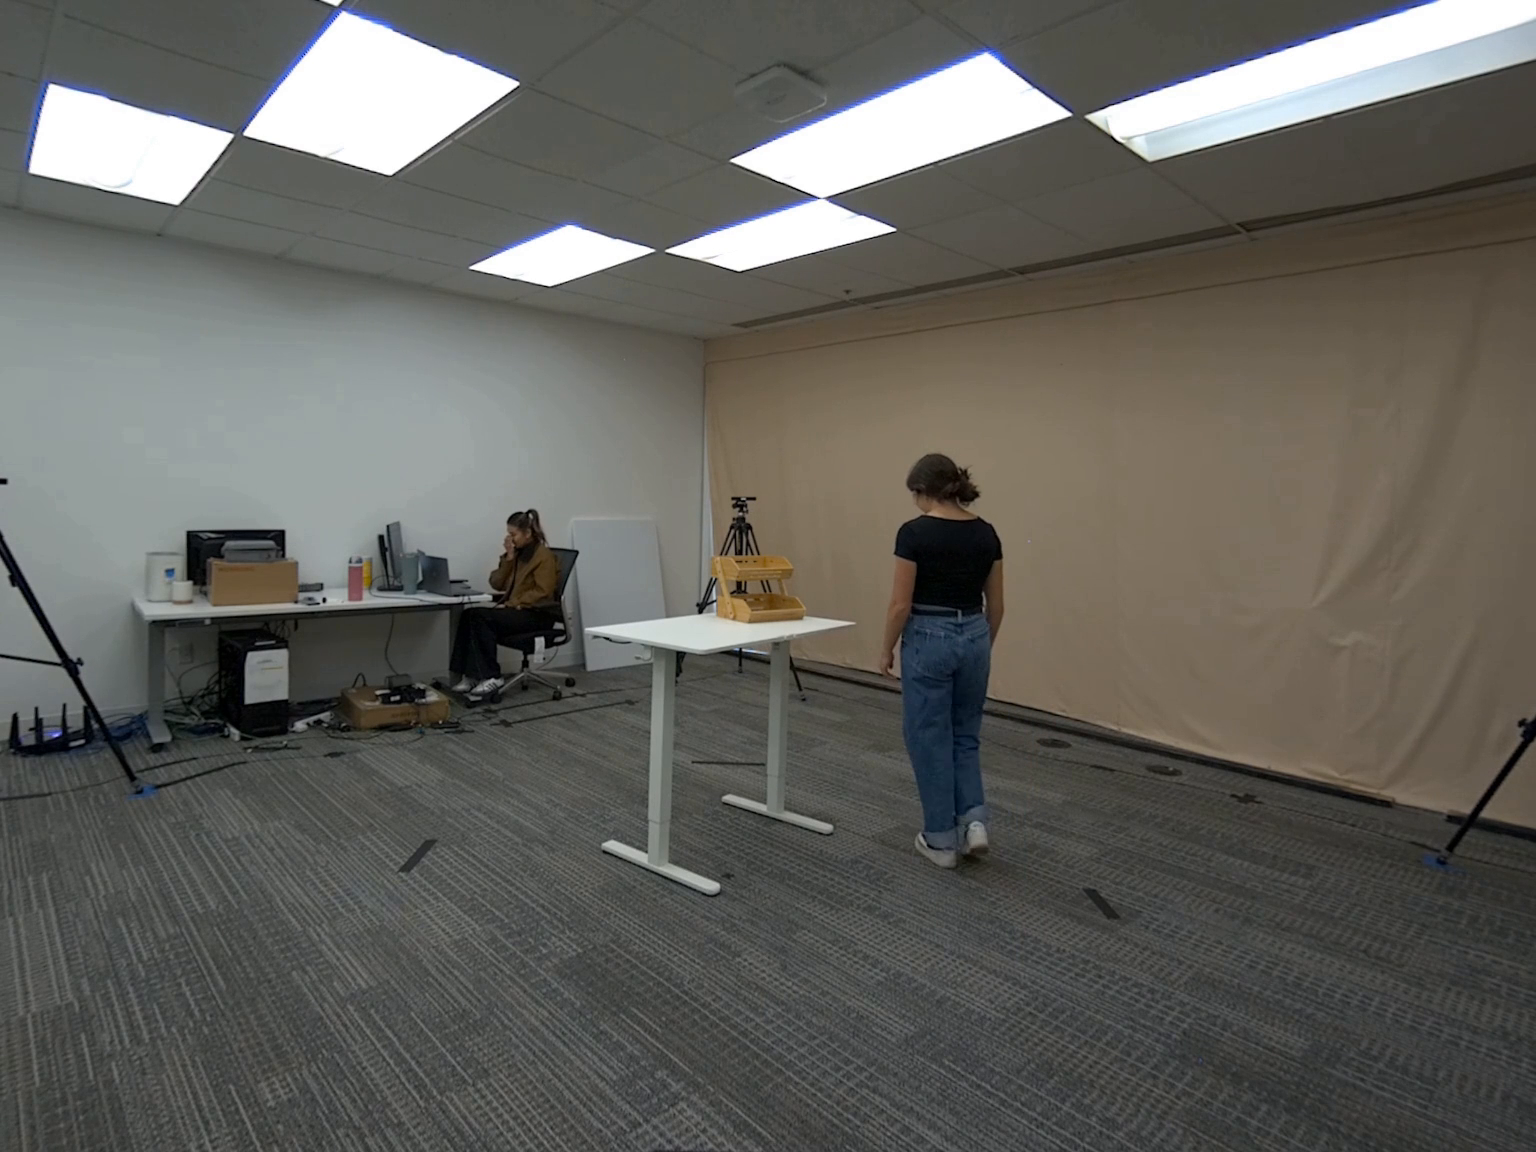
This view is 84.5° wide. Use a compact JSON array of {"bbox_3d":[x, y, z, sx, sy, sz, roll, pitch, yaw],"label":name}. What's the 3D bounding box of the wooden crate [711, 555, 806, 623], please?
[{"bbox_3d":[-0.052,0.048,3.656,0.317,0.273,0.309,-1,4,-37],"label":"wooden crate"}]
